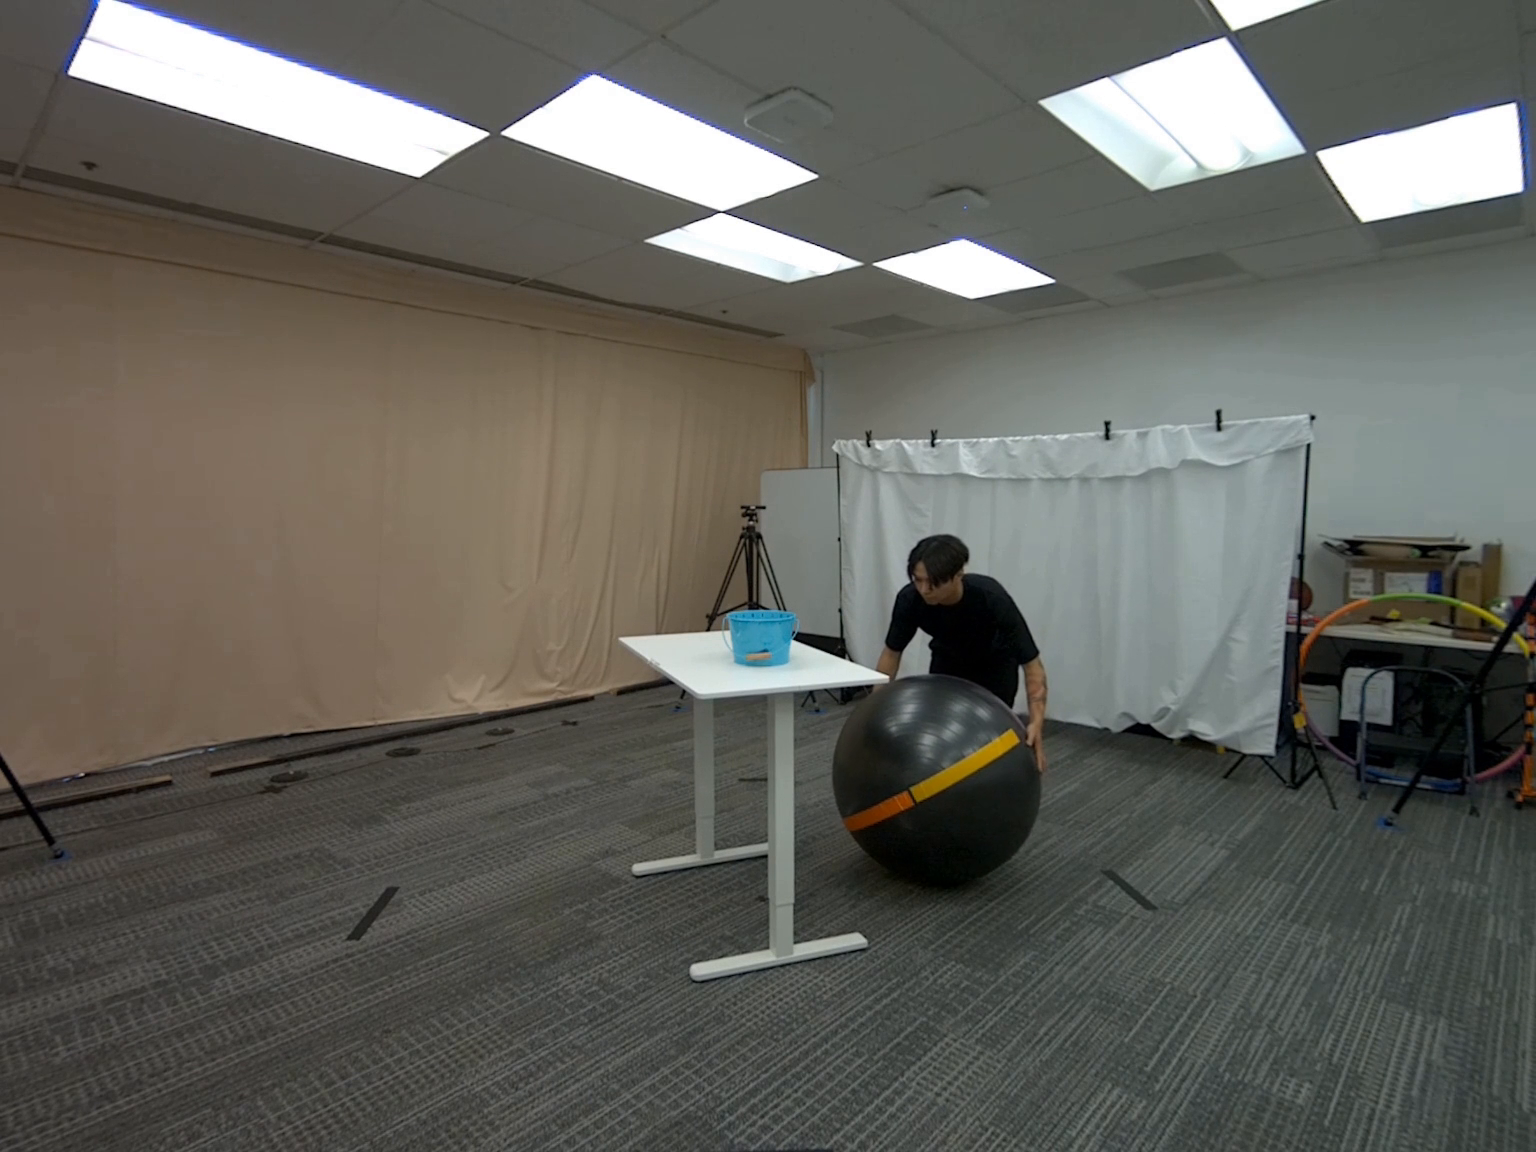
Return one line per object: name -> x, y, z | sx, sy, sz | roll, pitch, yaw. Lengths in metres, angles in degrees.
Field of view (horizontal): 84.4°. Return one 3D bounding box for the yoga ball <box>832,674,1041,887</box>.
yoga ball -> 0.626, 0.755, 3.168 | 0.757, 0.756, 0.760 | 0, 4, -2
